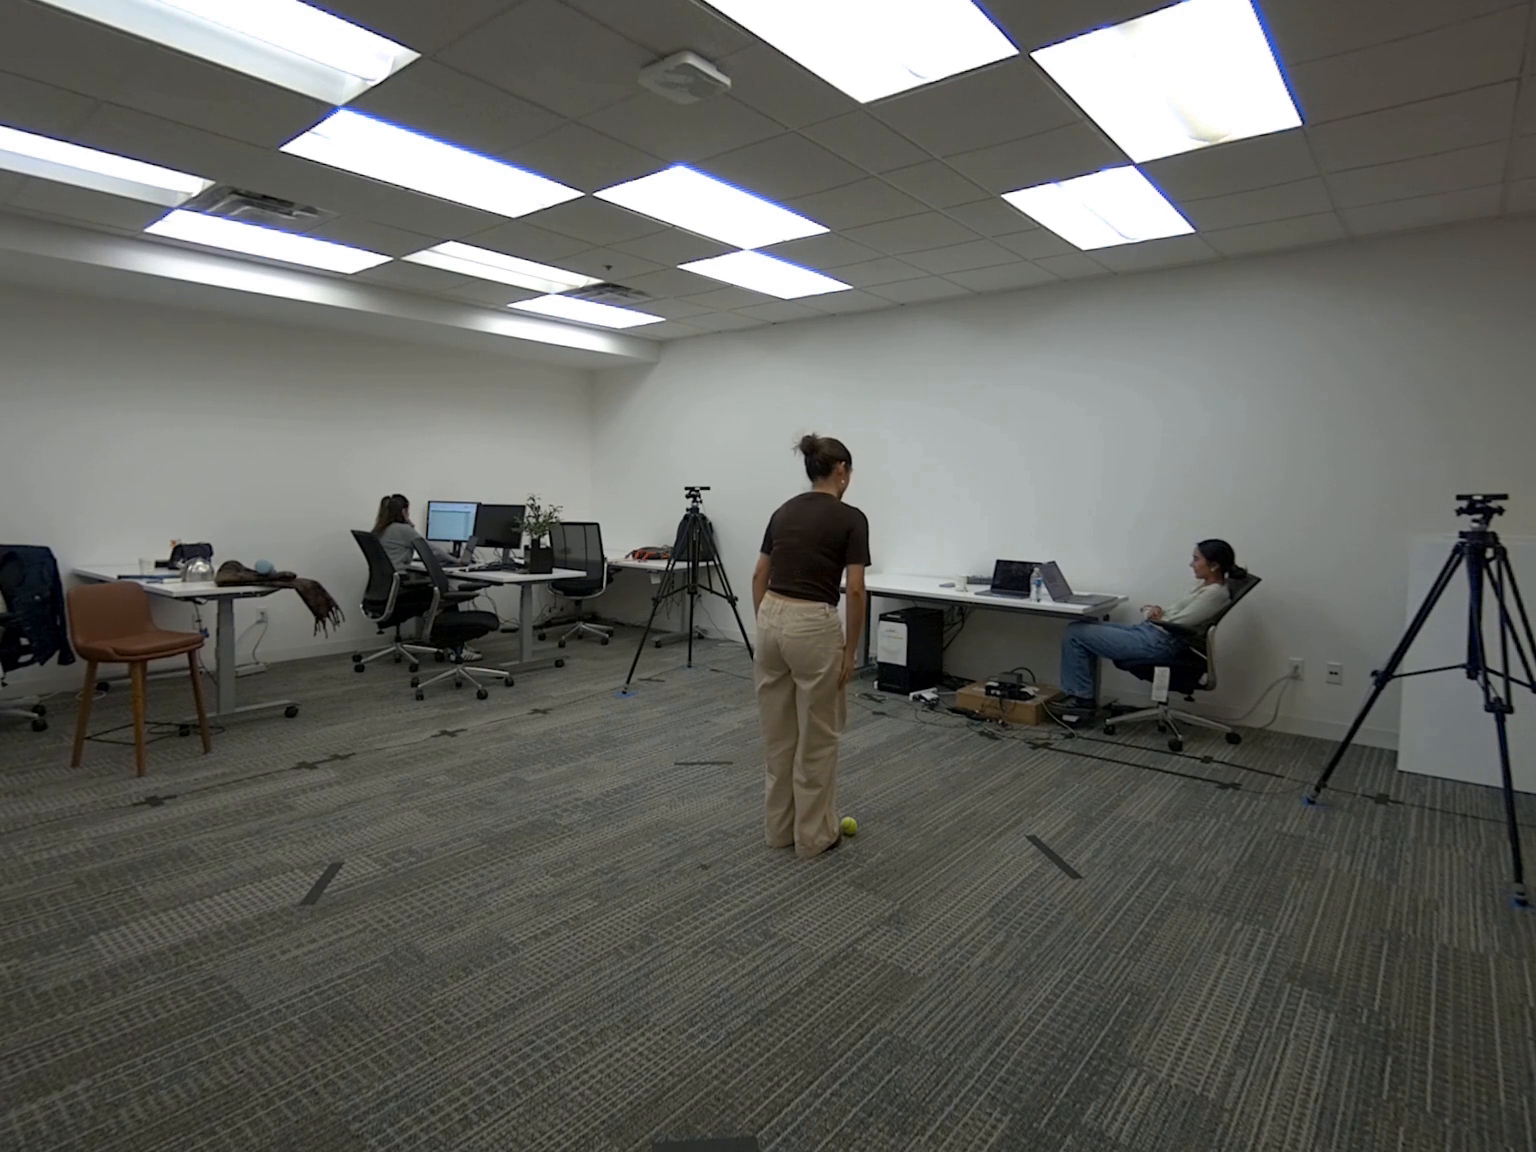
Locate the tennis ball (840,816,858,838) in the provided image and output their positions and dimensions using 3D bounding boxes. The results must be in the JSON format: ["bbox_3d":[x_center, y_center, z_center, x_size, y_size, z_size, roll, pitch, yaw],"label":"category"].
[{"bbox_3d":[0.313,1.004,3.439,0.066,0.066,0.067,1,4,-2],"label":"tennis ball"}]
